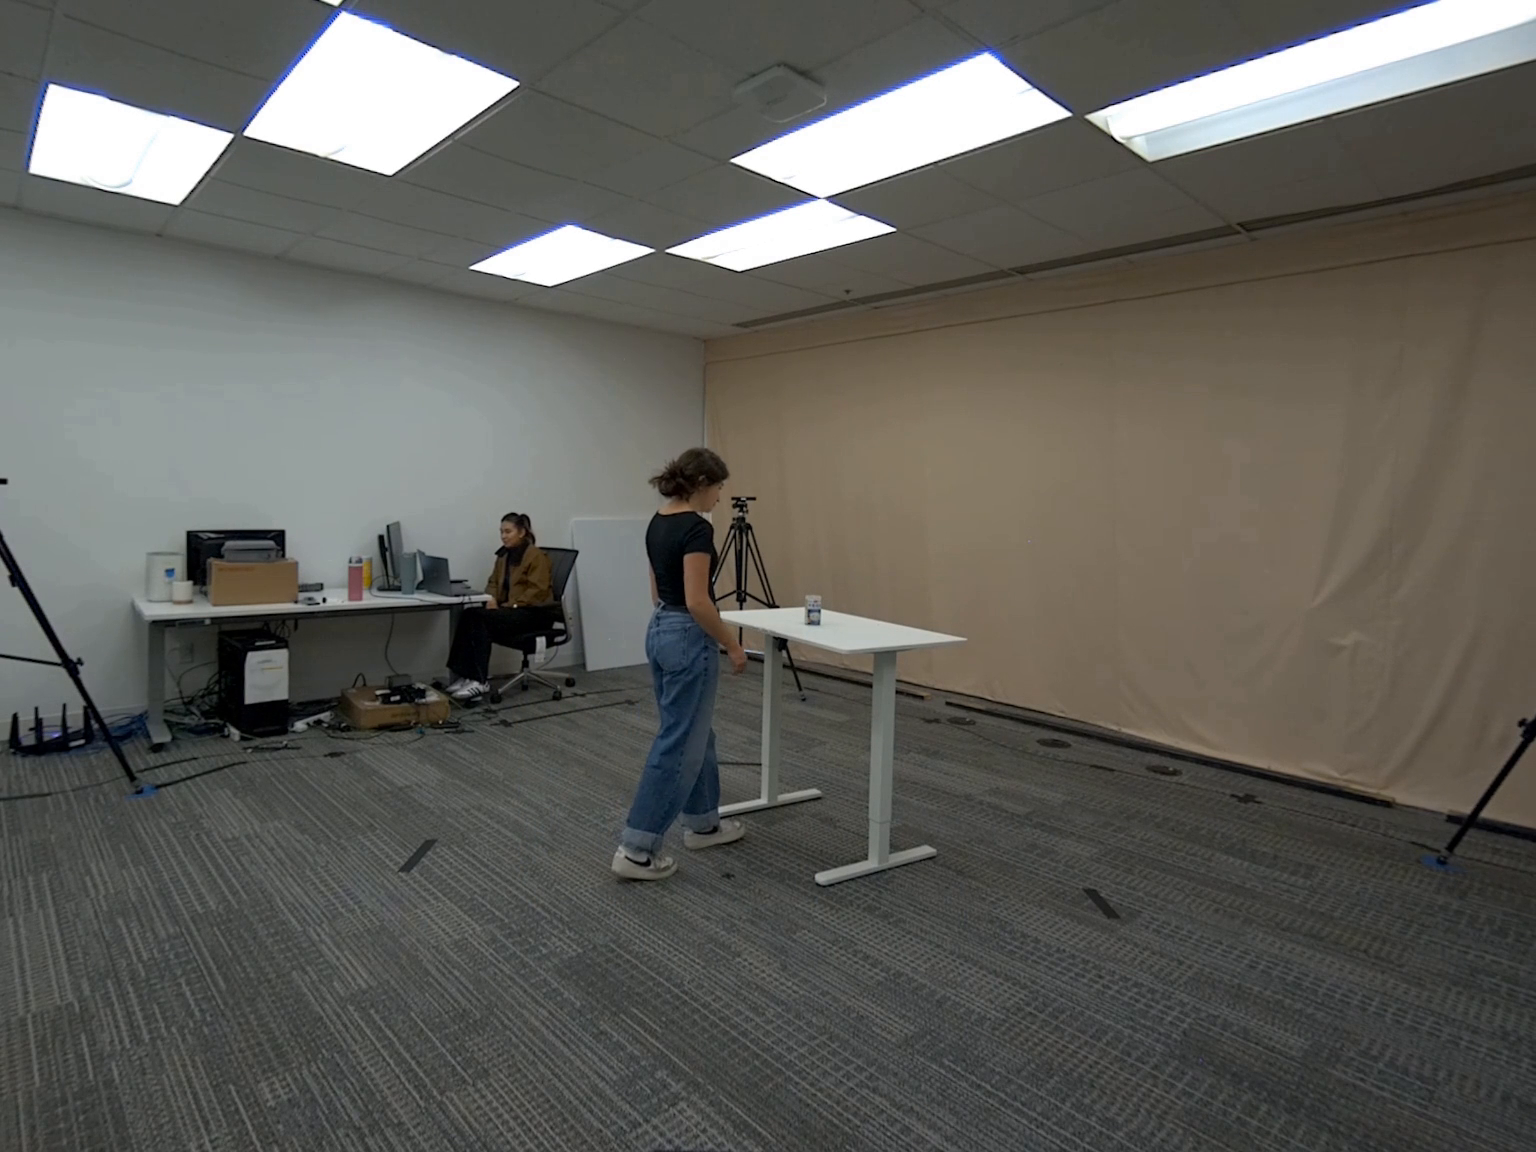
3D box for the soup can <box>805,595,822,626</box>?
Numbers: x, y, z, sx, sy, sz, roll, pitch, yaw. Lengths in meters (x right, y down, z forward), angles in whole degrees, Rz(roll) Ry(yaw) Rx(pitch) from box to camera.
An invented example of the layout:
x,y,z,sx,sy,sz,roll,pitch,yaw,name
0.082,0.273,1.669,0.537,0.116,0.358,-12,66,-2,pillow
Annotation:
x,y,z,sx,sy,sz,roll,pitch,yaw,name
0.181,0.144,3.473,0.067,0.121,0.067,2,5,-2,soup can
